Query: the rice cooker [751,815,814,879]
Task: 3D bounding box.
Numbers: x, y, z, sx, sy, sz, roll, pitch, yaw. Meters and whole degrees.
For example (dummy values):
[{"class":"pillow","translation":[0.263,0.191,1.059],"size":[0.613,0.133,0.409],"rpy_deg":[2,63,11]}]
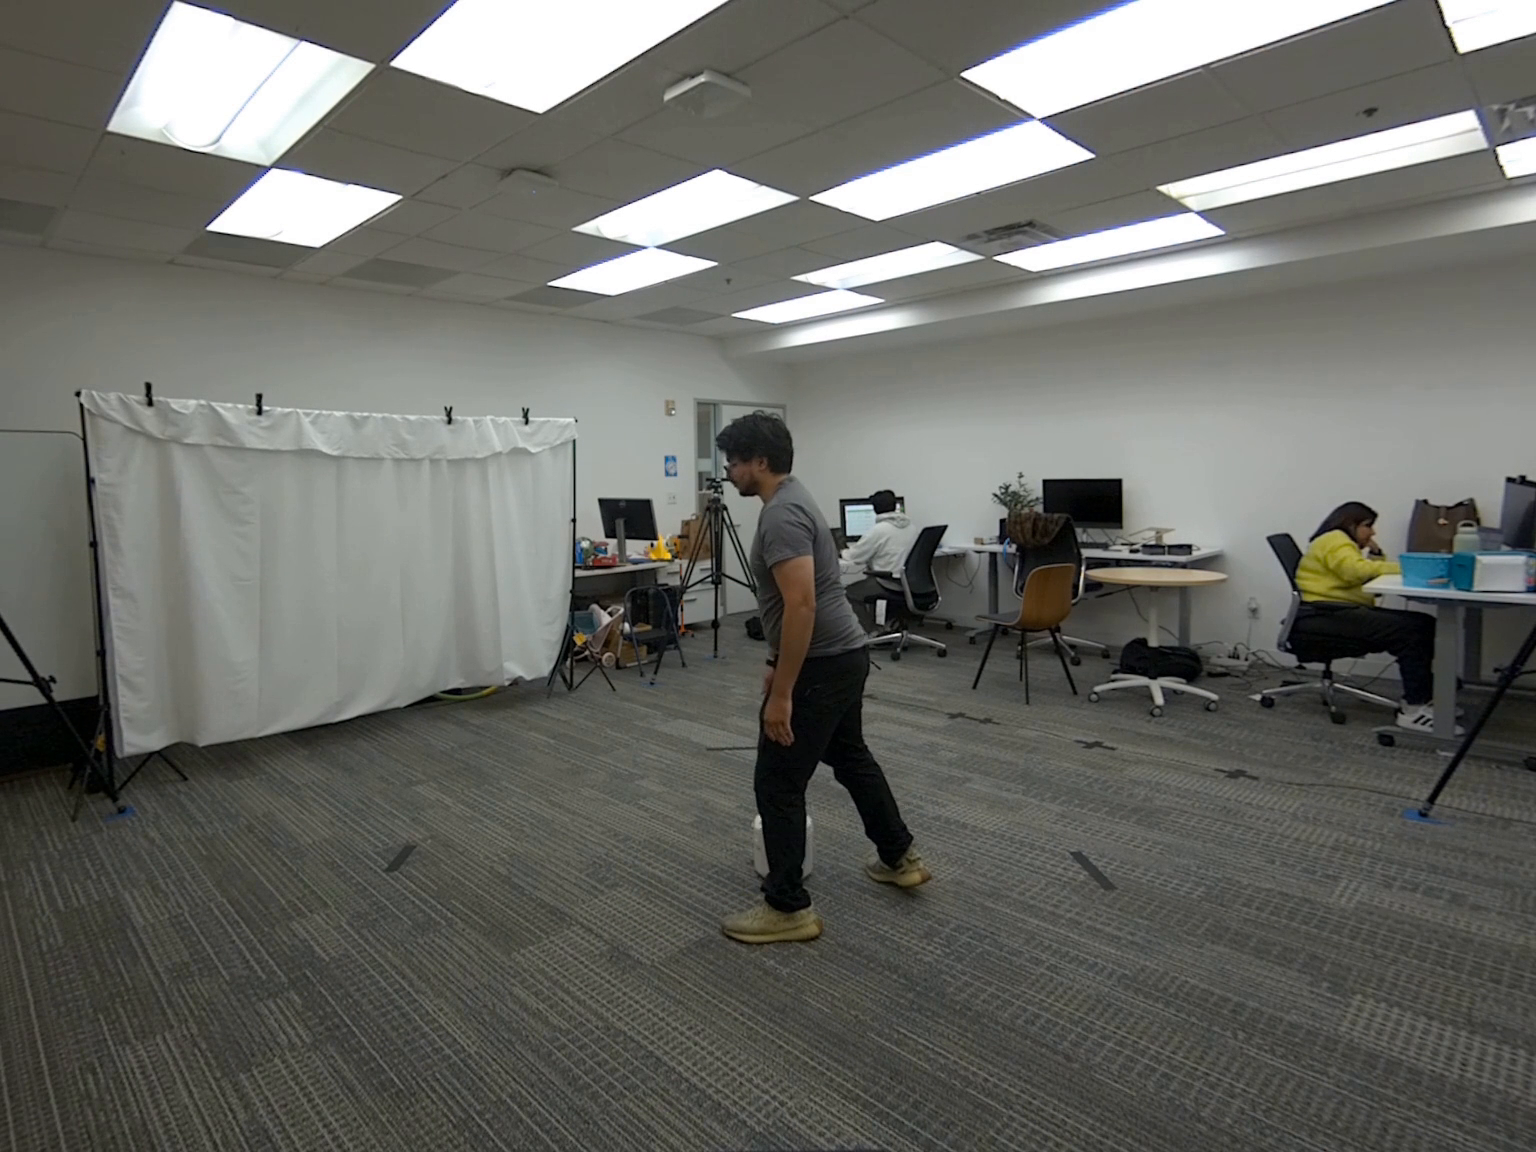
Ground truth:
[{"class":"rice cooker","translation":[0.062,0.936,3.019],"size":[0.216,0.232,0.223],"rpy_deg":[-4,4,-27]}]
